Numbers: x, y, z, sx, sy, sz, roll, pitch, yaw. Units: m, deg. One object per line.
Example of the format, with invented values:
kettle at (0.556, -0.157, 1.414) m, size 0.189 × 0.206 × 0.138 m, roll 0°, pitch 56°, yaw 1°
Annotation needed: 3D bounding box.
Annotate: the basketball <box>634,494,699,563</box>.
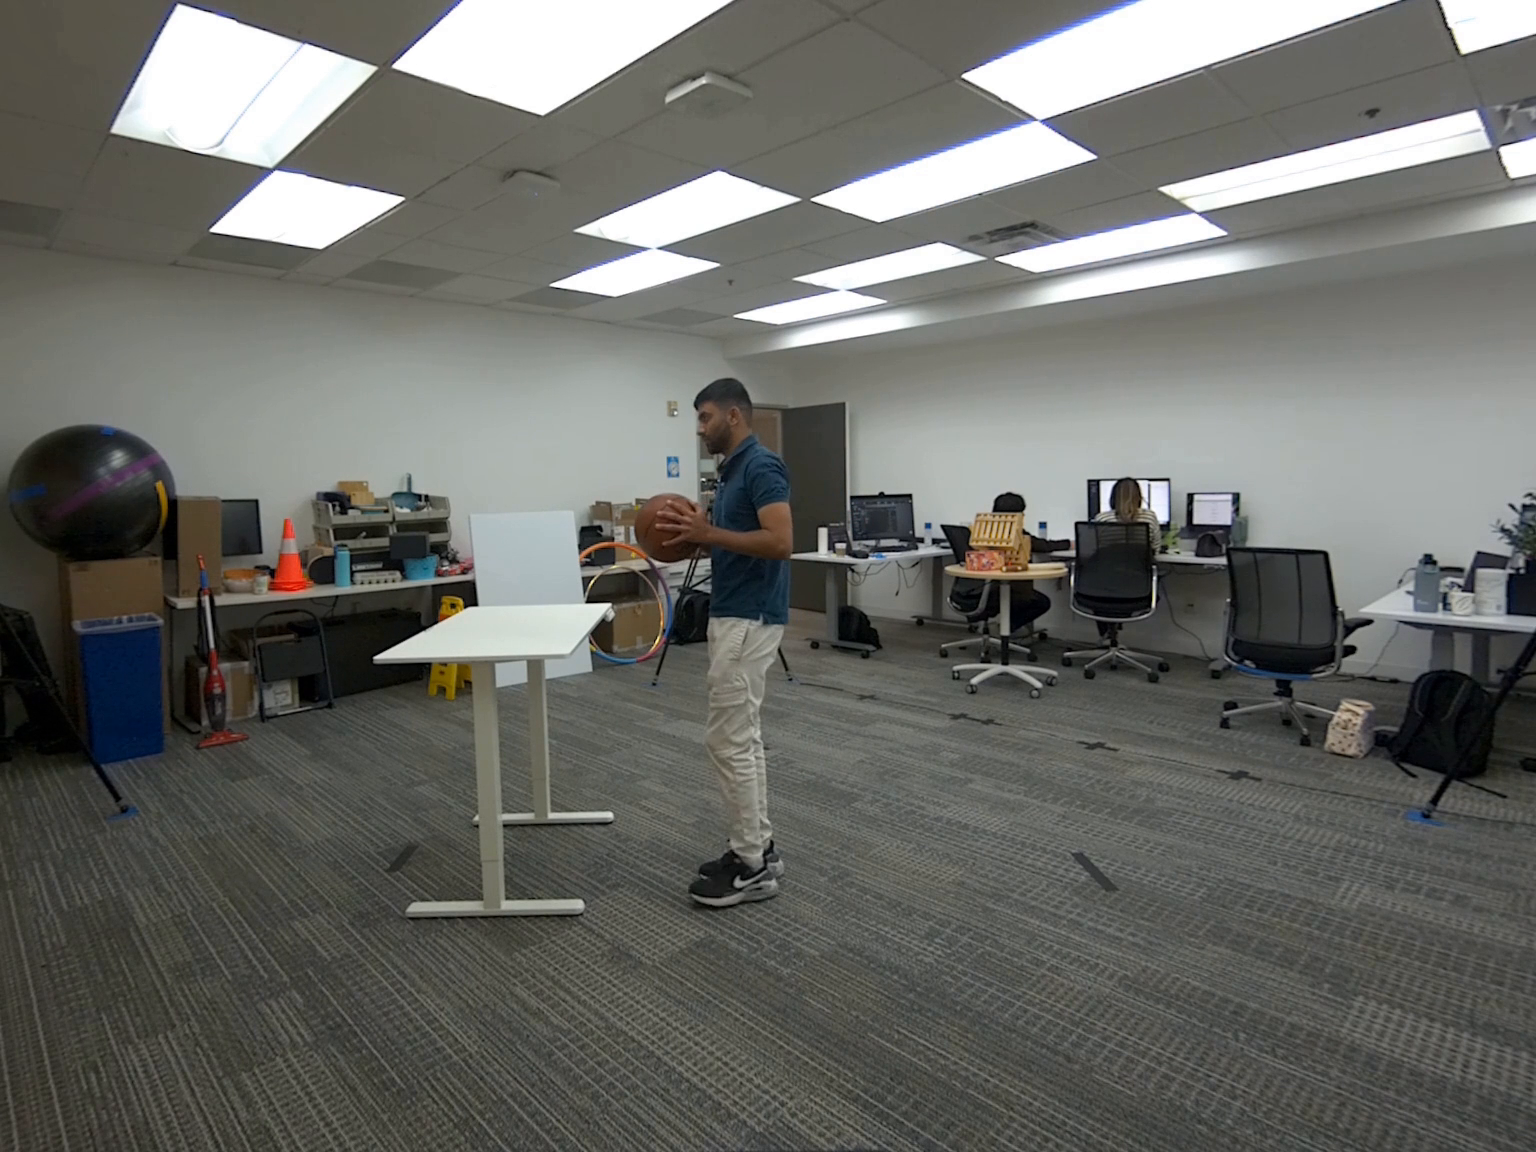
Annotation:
basketball at (-0.333, -0.164, 2.906) m, size 0.236 × 0.235 × 0.237 m, roll -1°, pitch 5°, yaw -2°
